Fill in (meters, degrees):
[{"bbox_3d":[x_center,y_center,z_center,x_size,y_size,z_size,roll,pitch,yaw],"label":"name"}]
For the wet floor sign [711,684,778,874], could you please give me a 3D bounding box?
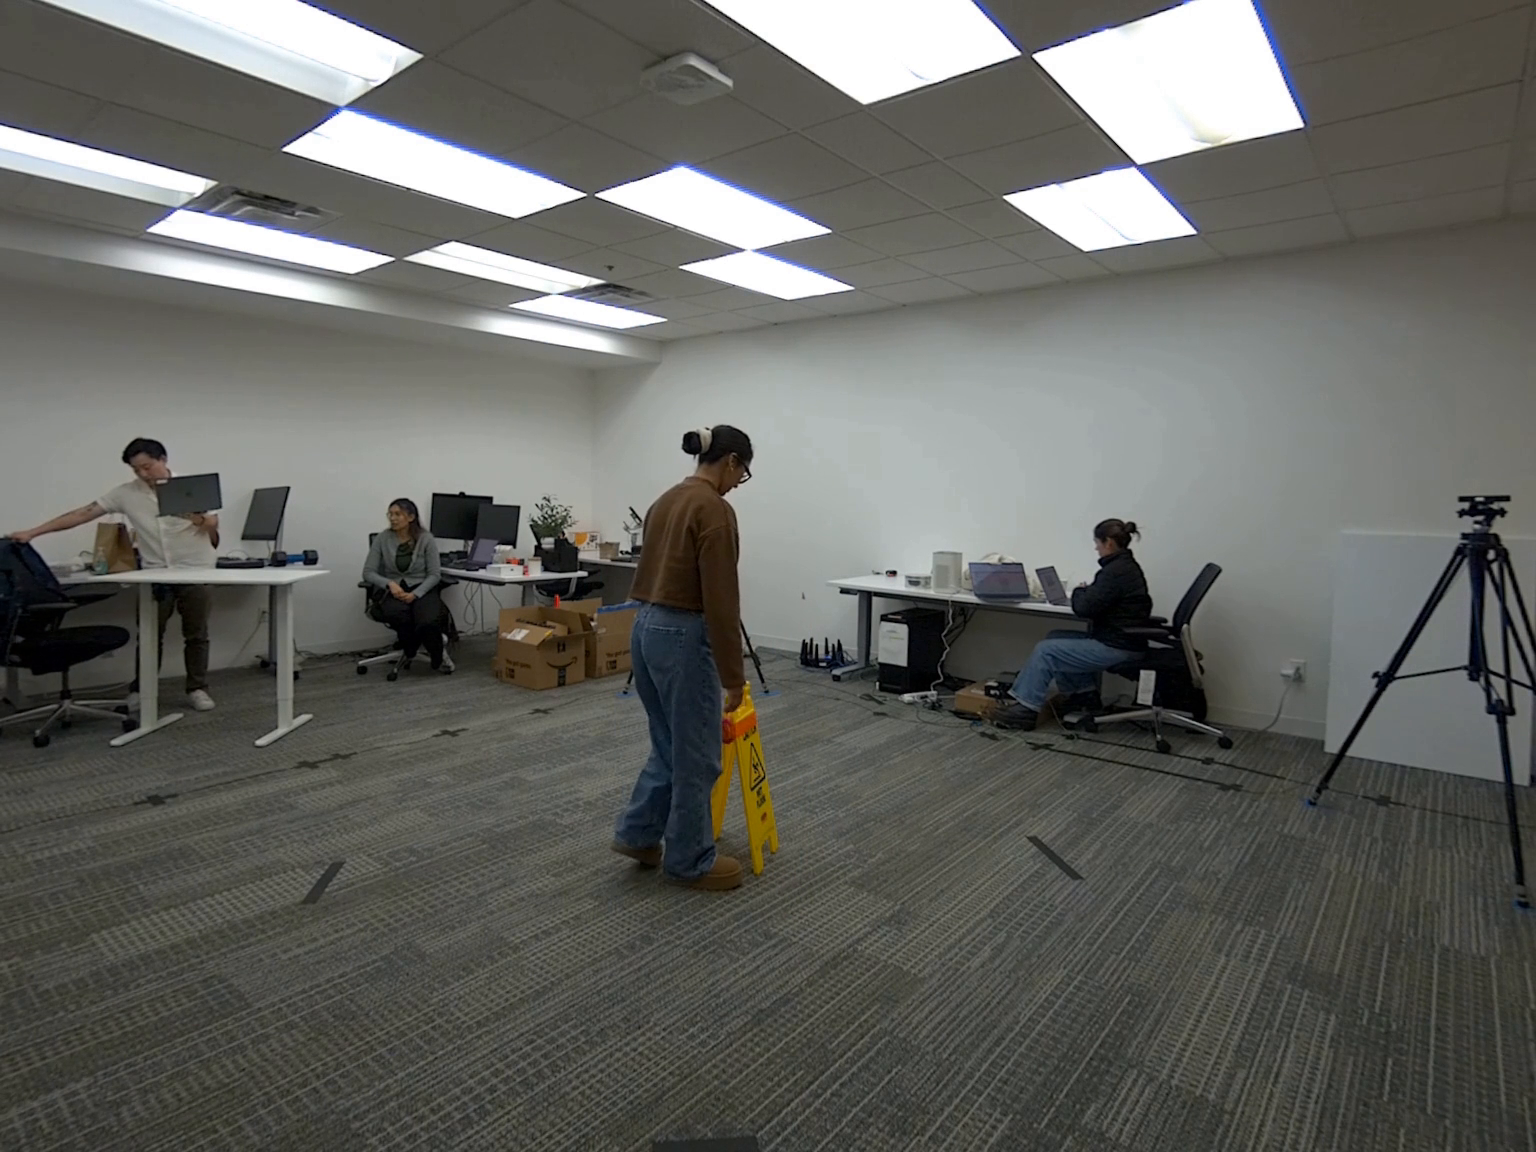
[{"bbox_3d":[-0.125,0.732,3.214,0.296,0.644,0.277,2,4,19],"label":"wet floor sign"}]
